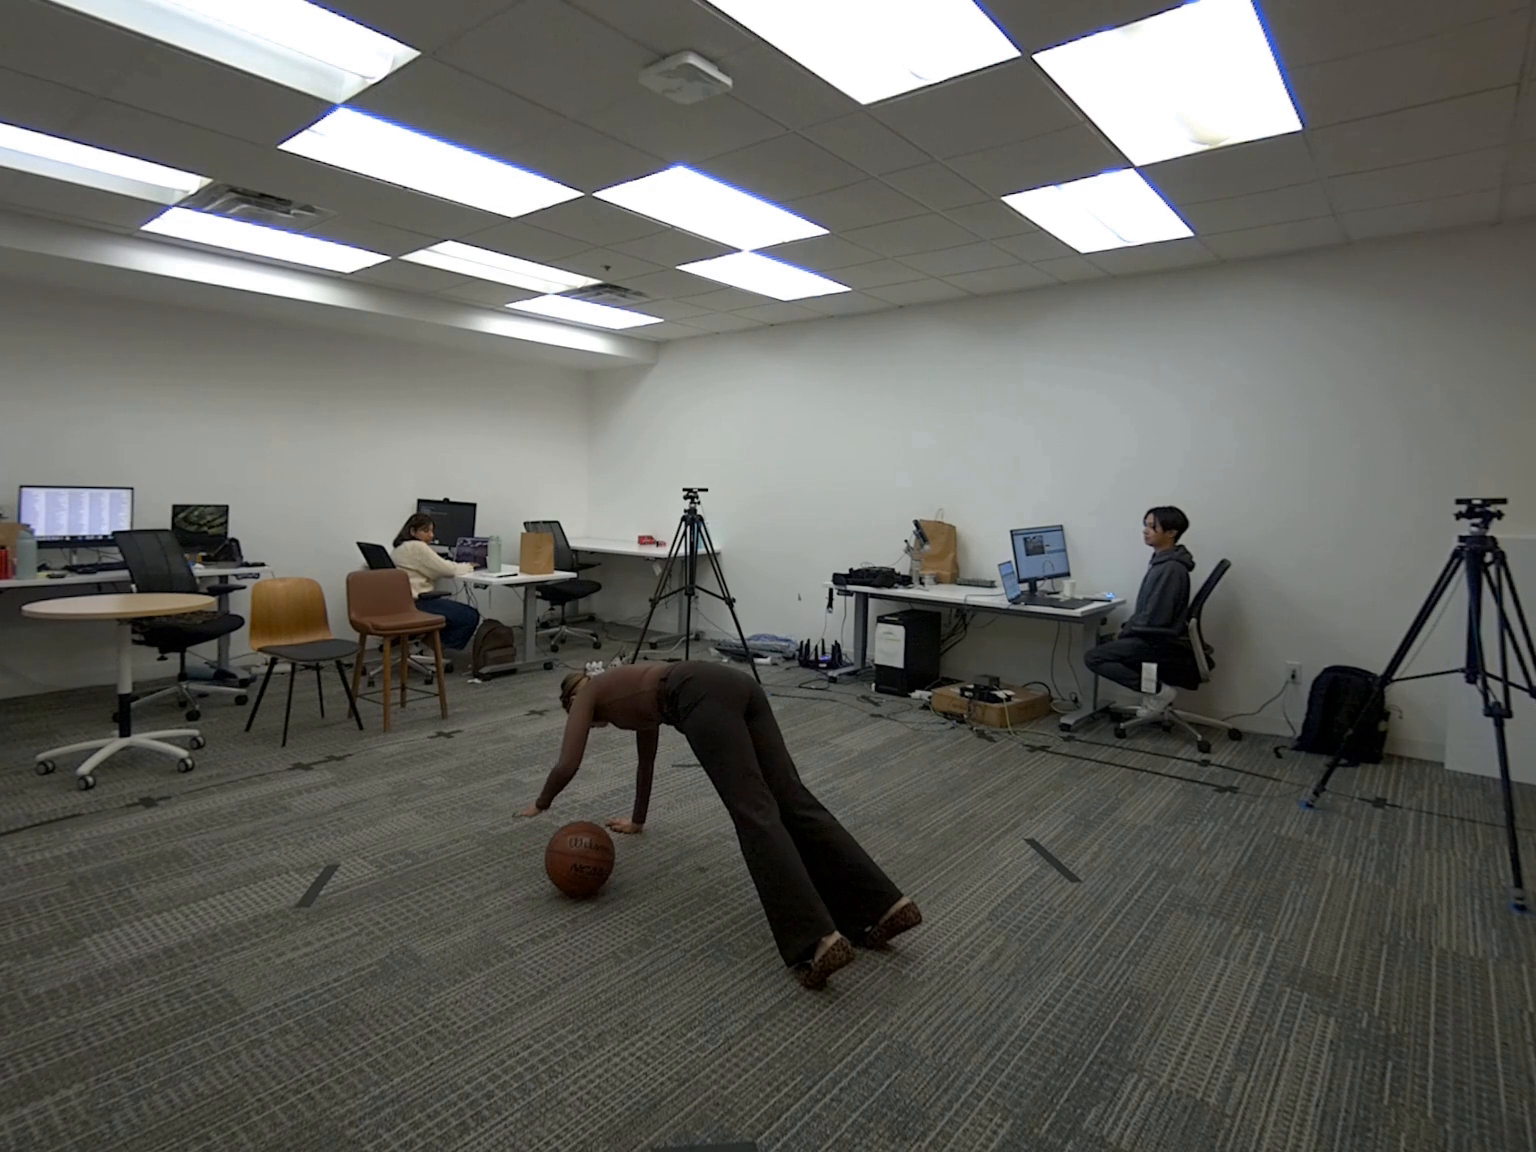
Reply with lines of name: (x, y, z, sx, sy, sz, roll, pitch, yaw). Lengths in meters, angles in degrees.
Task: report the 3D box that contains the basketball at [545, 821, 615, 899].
basketball: (-0.654, 0.963, 2.909, 0.236, 0.235, 0.237, 1, 4, -2)
